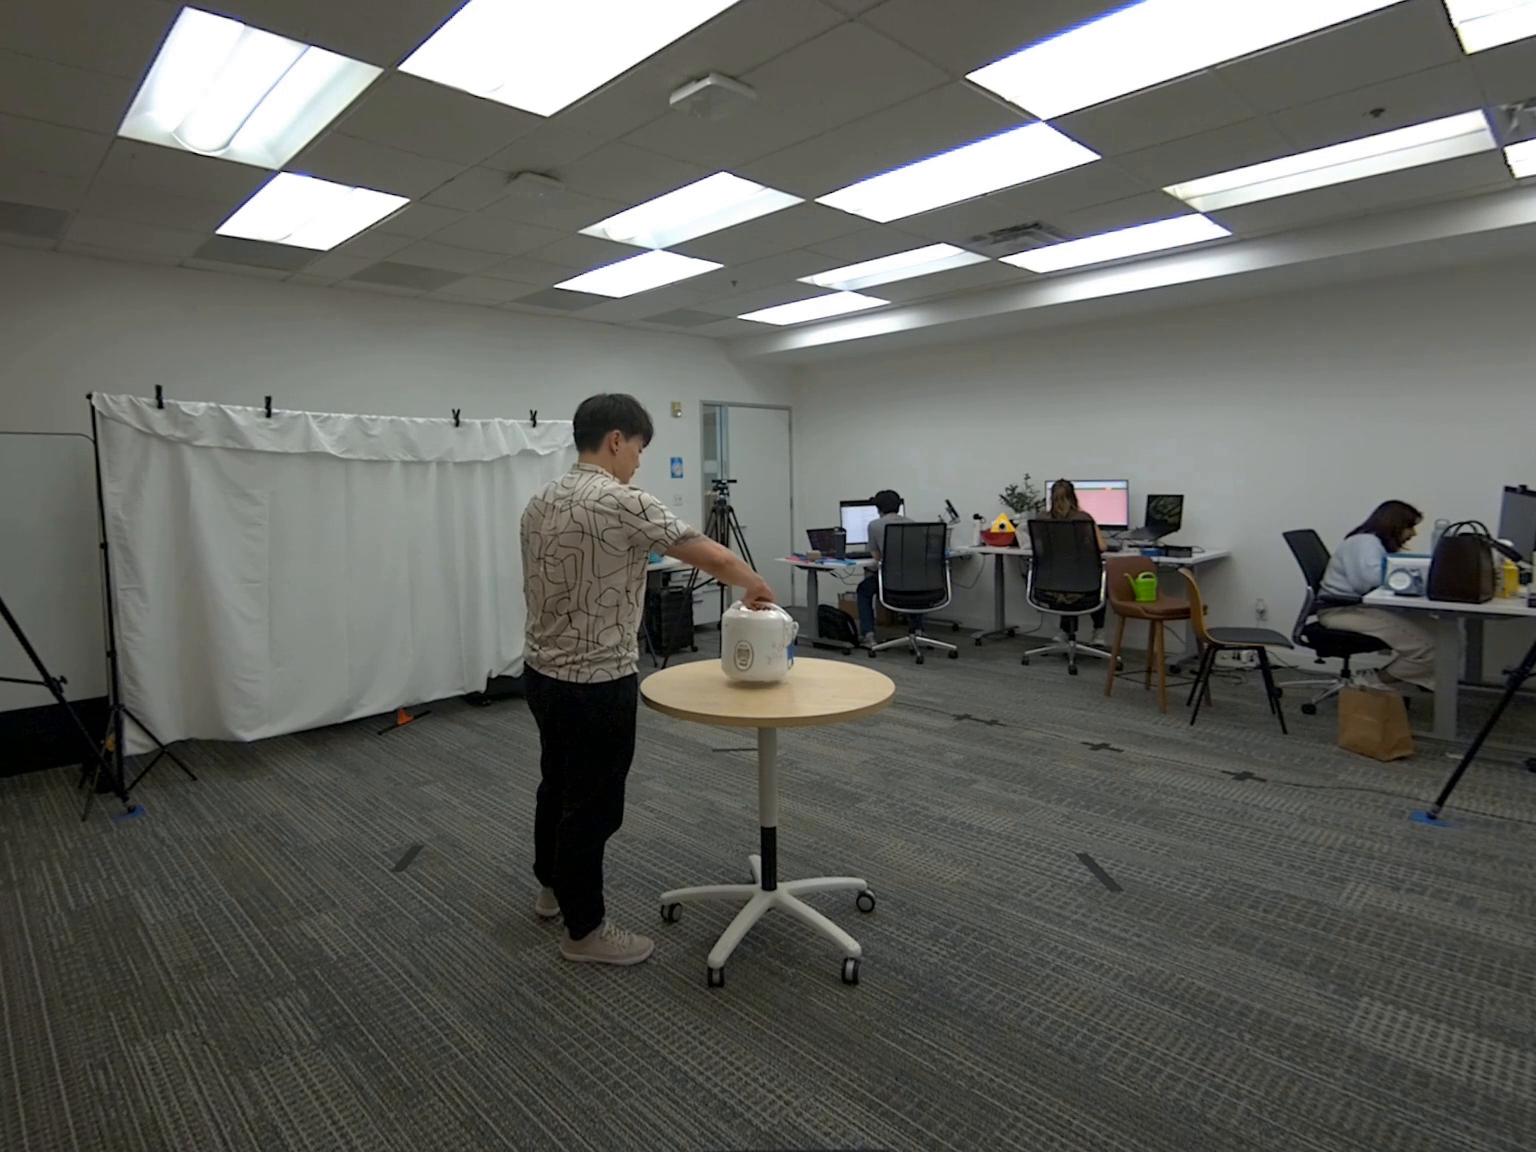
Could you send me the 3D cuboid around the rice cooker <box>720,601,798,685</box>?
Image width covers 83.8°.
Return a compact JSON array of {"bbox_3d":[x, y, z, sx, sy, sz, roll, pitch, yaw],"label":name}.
[{"bbox_3d":[-0.032,0.186,2.584,0.225,0.233,0.213,1,1,20],"label":"rice cooker"}]
